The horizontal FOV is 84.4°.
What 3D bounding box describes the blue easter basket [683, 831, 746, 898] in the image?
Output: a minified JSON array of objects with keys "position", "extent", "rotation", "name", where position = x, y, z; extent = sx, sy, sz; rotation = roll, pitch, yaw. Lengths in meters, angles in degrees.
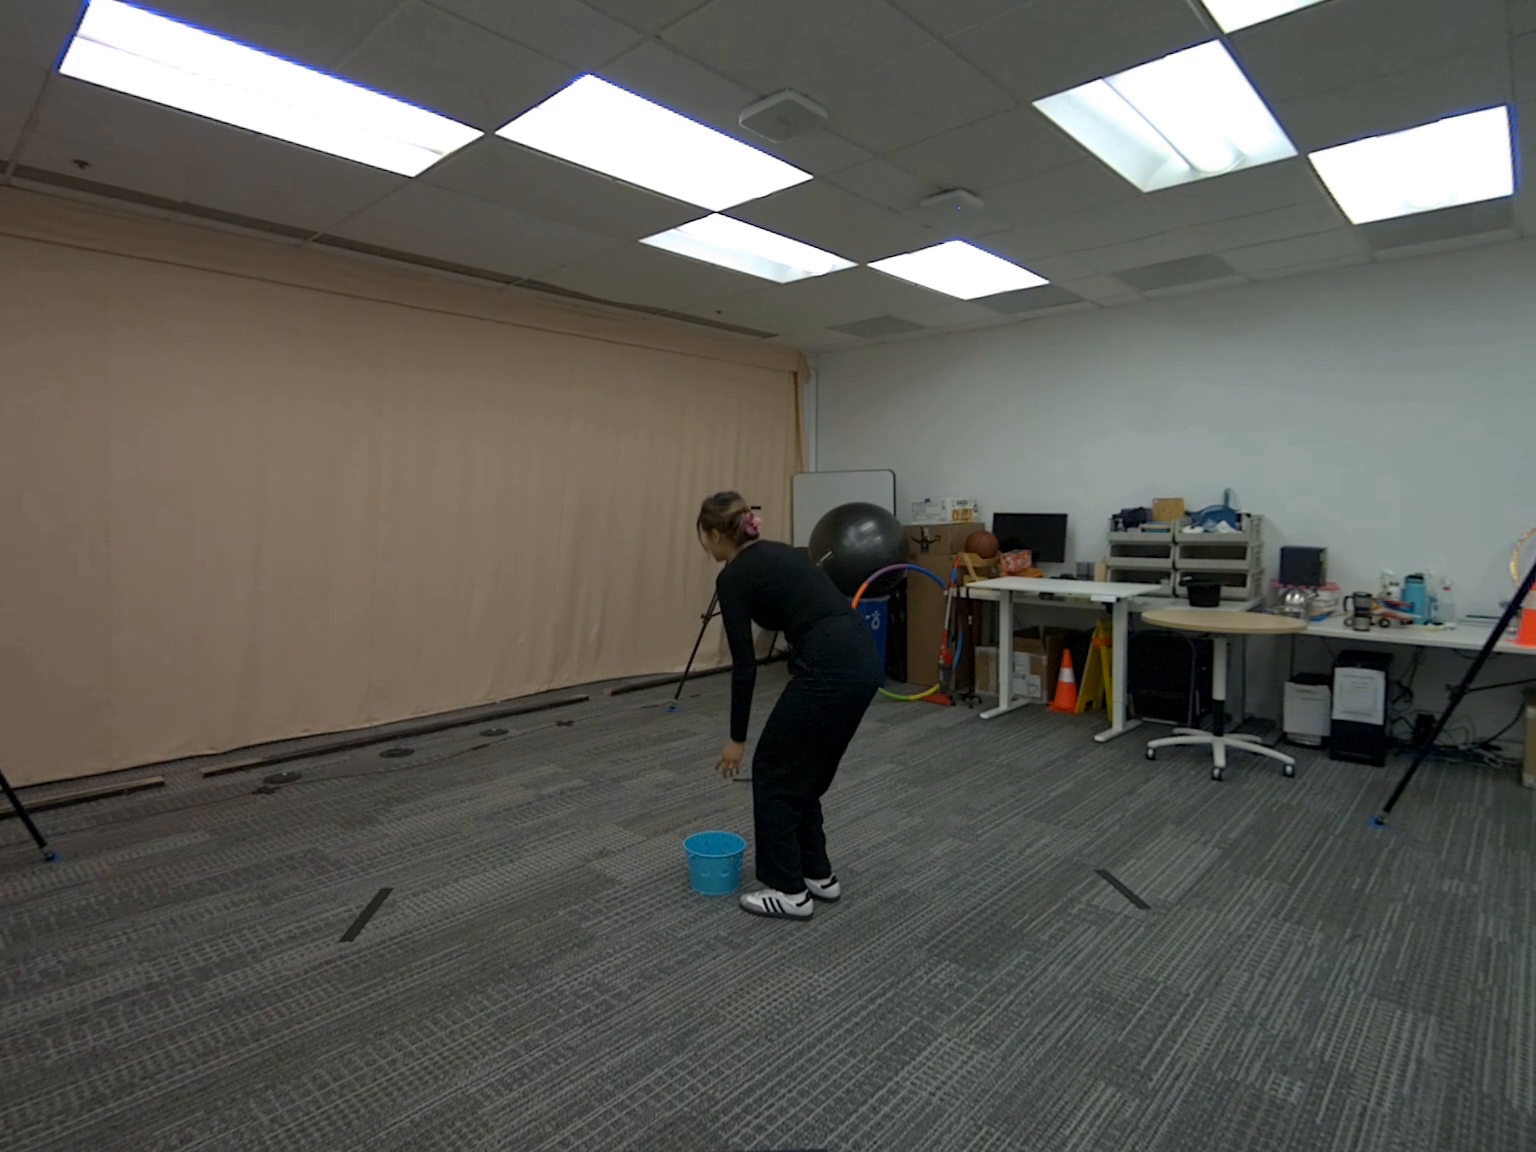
[{"position":[-0.195,1.056,3.105],"extent":[0.243,0.155,0.245],"rotation":[0,6,-2],"name":"blue easter basket"}]
